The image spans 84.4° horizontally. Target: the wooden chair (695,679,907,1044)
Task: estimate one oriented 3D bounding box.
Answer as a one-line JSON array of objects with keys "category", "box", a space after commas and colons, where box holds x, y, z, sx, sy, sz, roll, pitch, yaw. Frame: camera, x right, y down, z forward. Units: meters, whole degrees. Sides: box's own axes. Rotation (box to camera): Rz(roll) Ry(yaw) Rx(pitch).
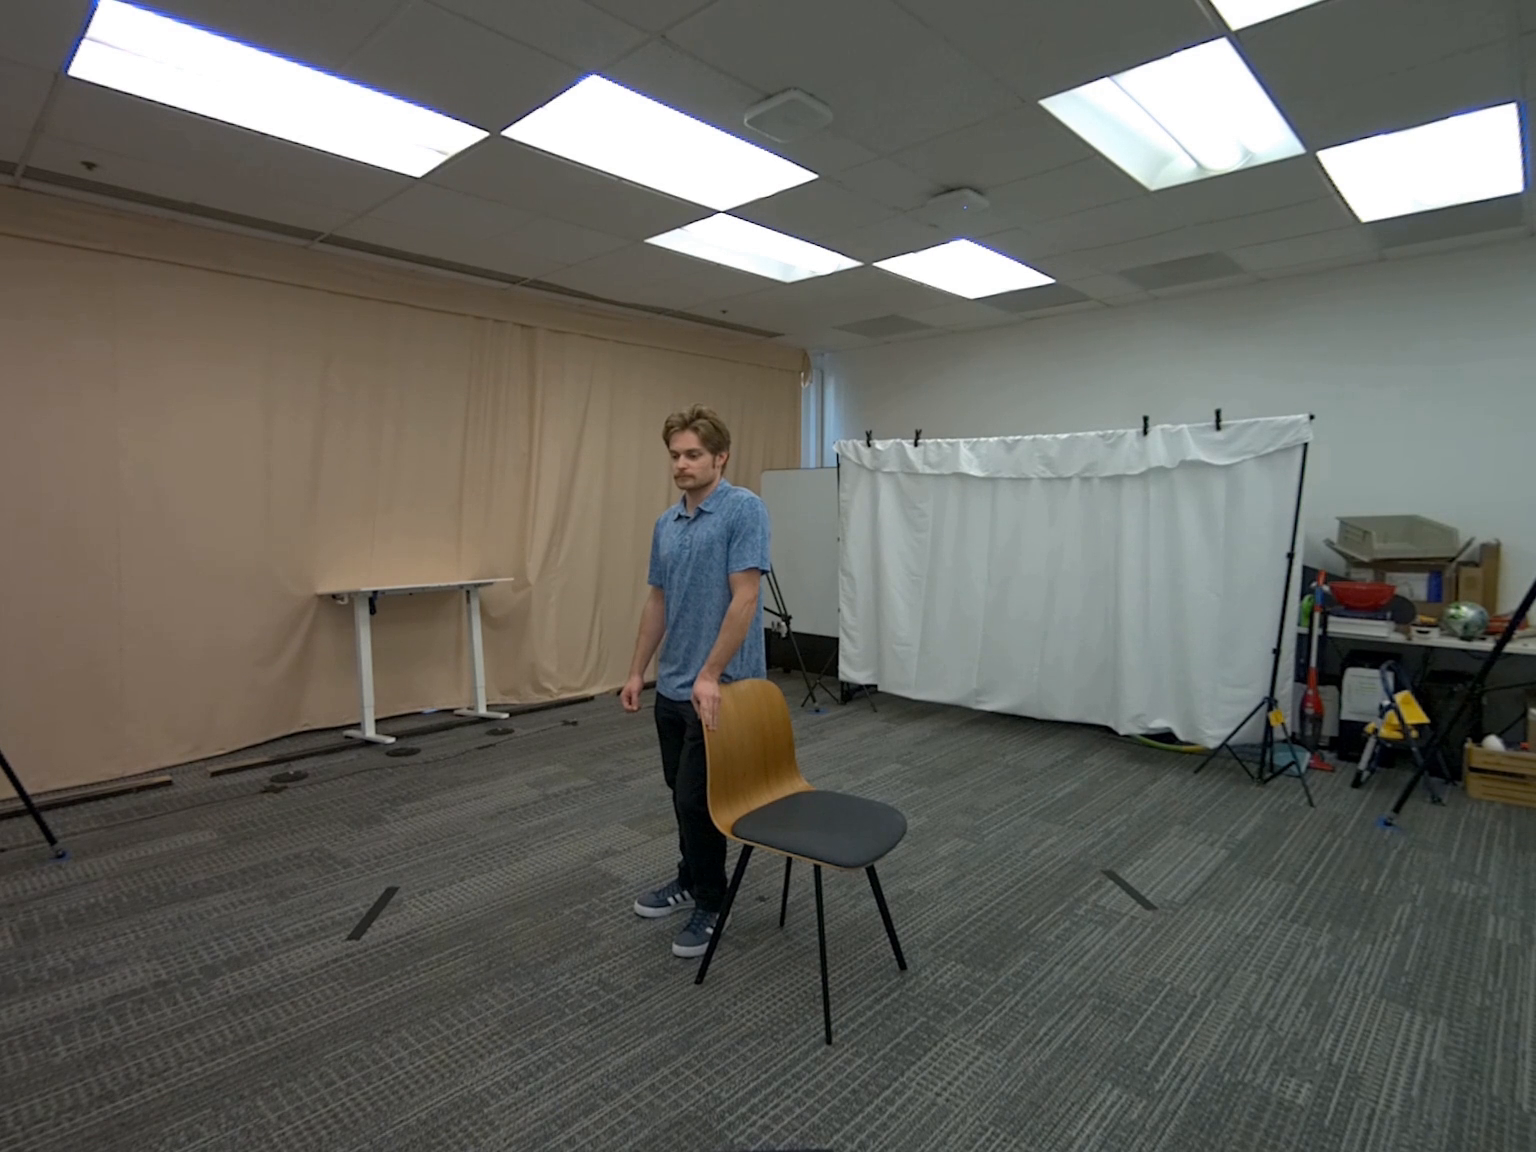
[{"category": "wooden chair", "box": [0.115, 0.759, 2.454, 0.539, 0.877, 0.464, -4, 0, 37]}]
